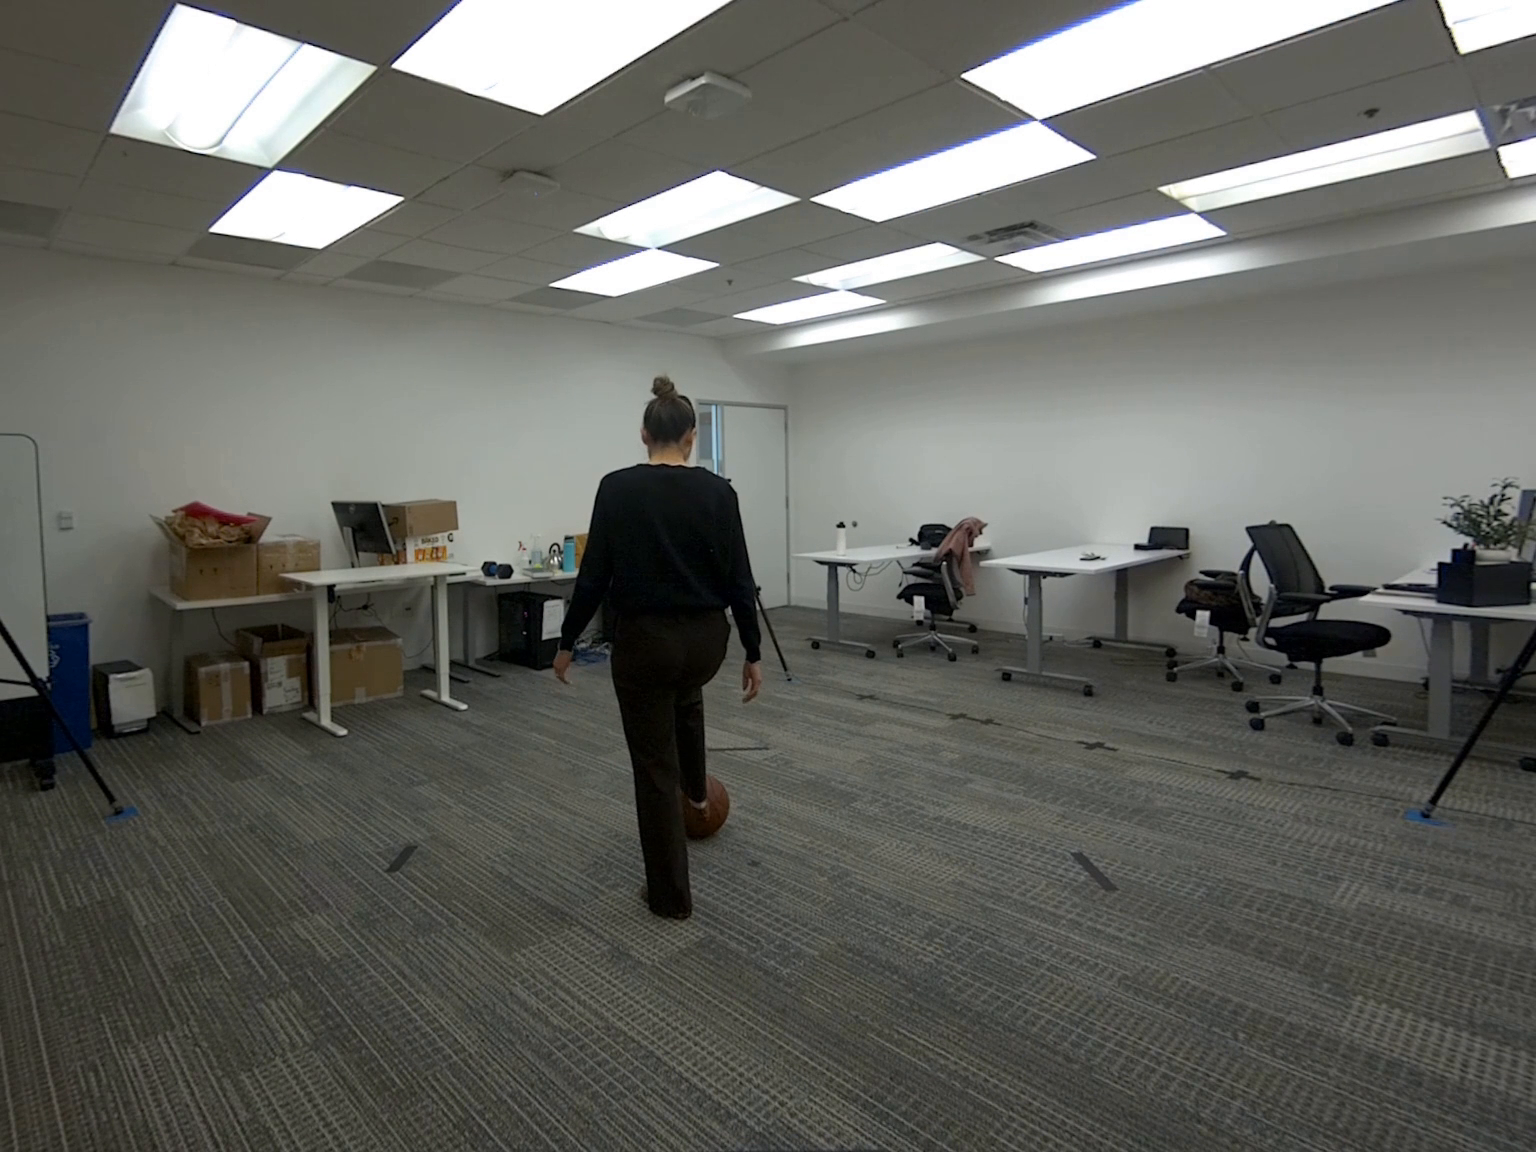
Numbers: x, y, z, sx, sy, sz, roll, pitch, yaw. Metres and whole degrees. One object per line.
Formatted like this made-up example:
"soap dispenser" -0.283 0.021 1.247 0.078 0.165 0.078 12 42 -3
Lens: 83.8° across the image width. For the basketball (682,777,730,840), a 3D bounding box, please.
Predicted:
"basketball" -0.269 0.903 3.369 0.236 0.235 0.237 -1 5 -2
